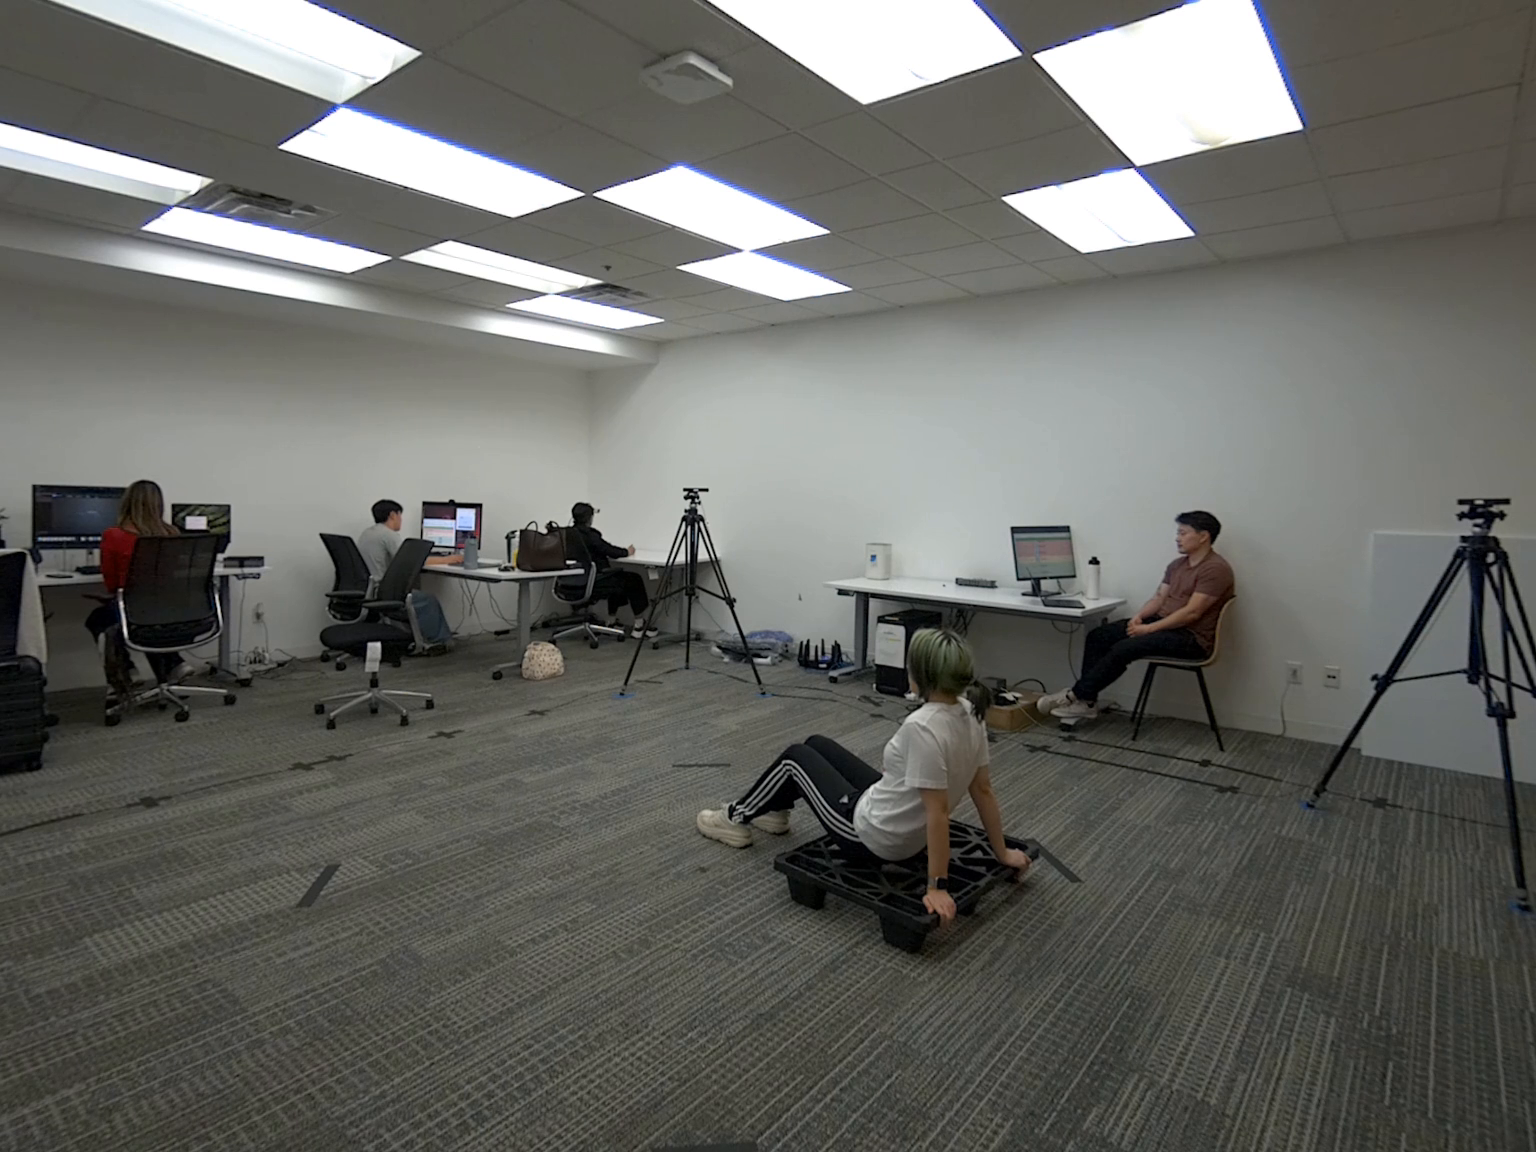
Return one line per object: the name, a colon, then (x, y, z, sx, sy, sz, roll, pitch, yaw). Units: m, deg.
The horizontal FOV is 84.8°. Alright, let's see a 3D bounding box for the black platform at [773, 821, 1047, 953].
black platform: (0.486, 1.030, 2.982, 0.626, 0.143, 0.781, 5, 7, 43)
